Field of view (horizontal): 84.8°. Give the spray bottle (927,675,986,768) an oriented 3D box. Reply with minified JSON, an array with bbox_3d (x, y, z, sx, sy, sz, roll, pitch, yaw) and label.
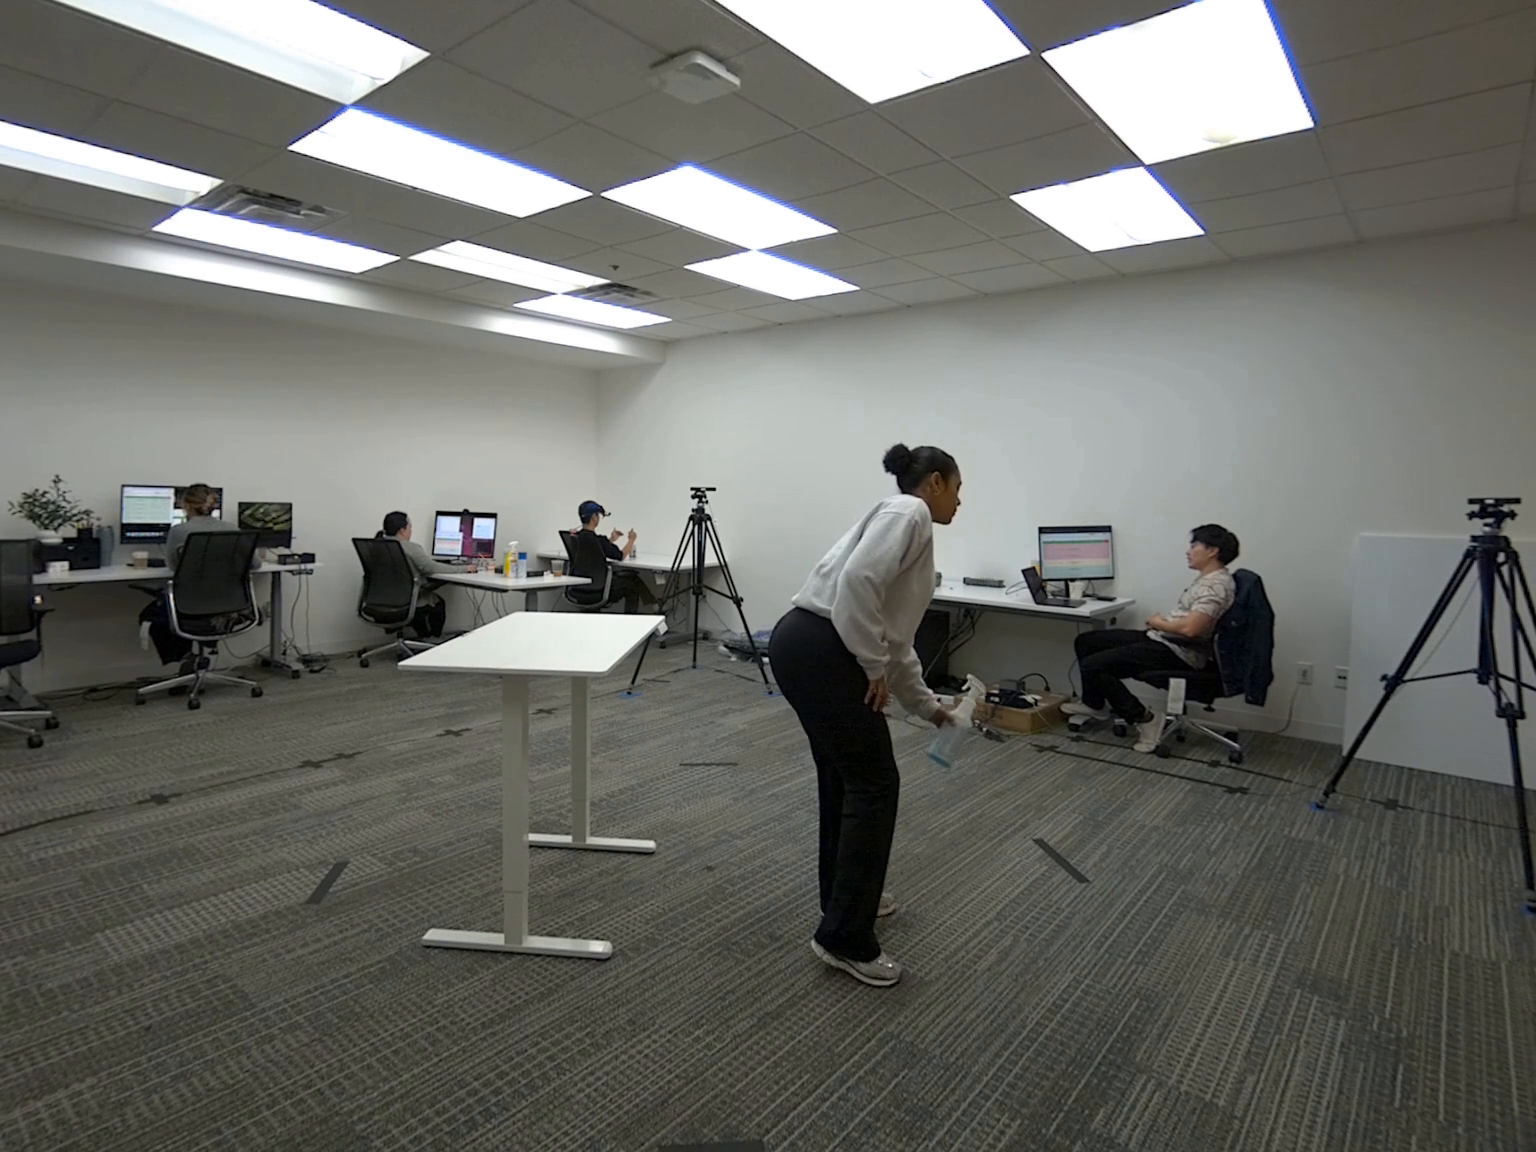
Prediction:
[{"bbox_3d":[0.606,0.472,2.739,0.091,0.298,0.086,26,-7,6],"label":"spray bottle"}]
